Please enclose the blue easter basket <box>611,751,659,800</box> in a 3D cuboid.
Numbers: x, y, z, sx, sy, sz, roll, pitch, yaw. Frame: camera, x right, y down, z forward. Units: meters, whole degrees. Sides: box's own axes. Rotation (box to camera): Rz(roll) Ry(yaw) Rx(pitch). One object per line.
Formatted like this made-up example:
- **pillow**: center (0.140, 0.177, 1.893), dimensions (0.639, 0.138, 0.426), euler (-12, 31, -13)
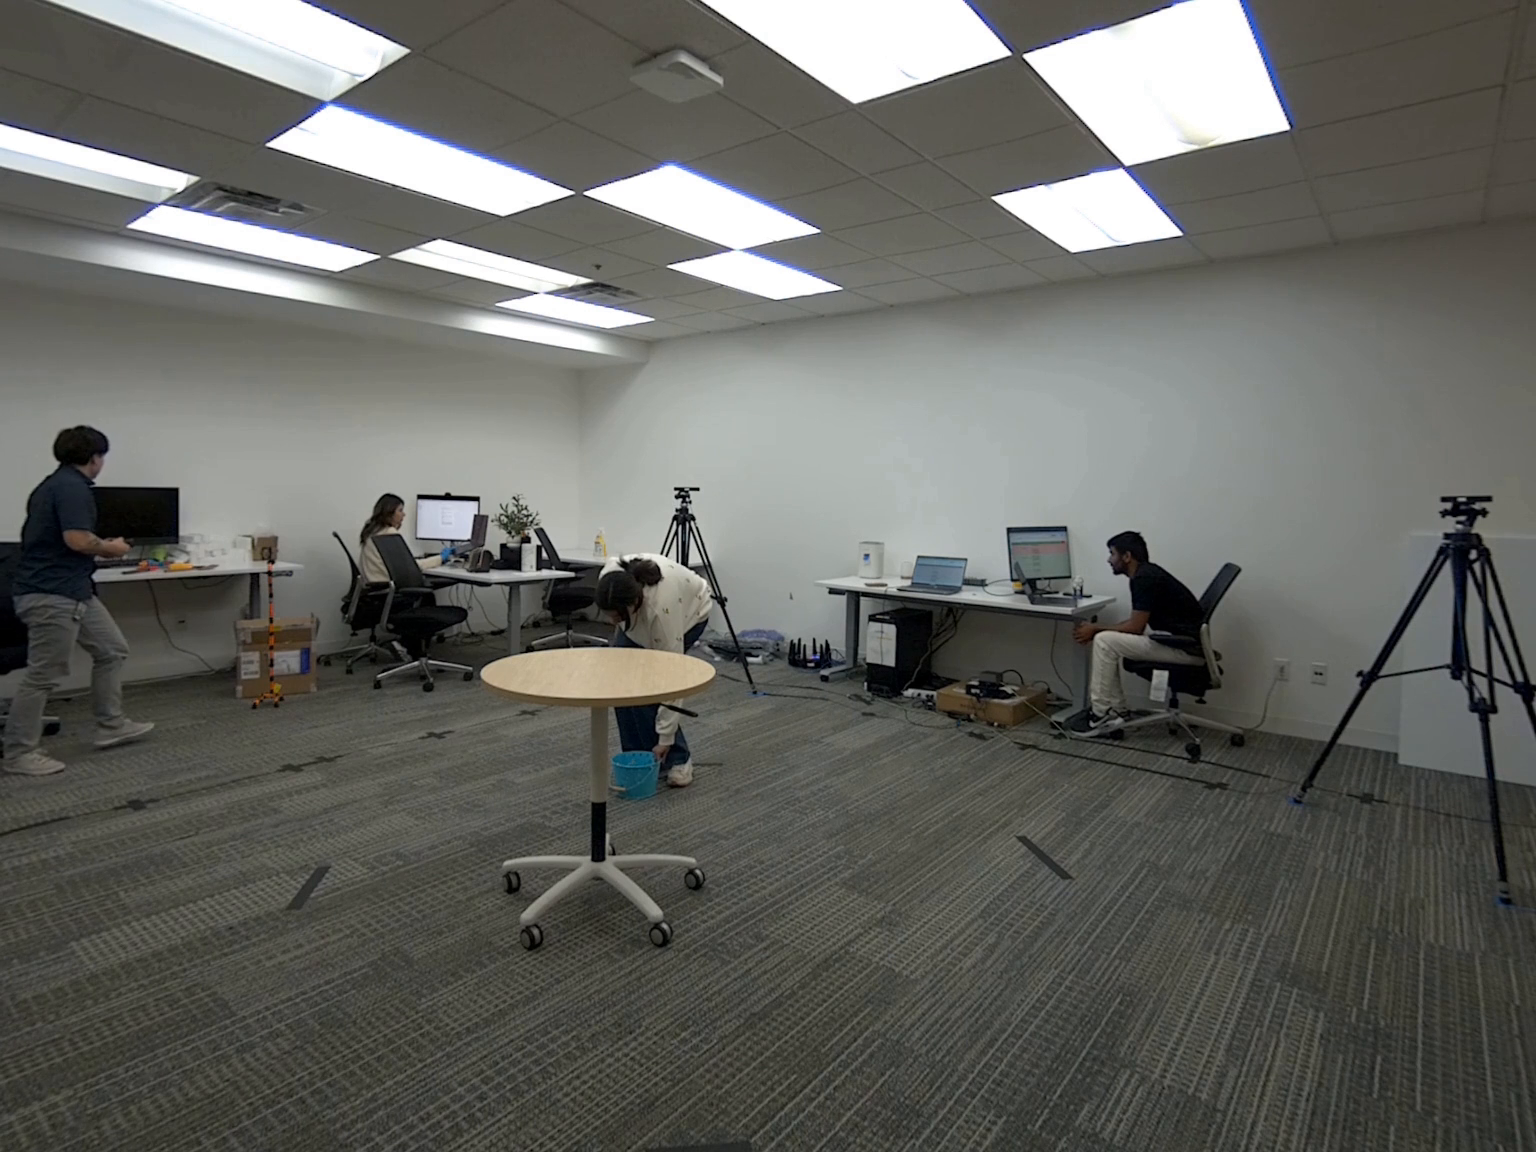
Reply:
- **blue easter basket**: center (-0.625, 0.904, 3.891), dimensions (0.243, 0.155, 0.245), euler (-1, 5, -2)
